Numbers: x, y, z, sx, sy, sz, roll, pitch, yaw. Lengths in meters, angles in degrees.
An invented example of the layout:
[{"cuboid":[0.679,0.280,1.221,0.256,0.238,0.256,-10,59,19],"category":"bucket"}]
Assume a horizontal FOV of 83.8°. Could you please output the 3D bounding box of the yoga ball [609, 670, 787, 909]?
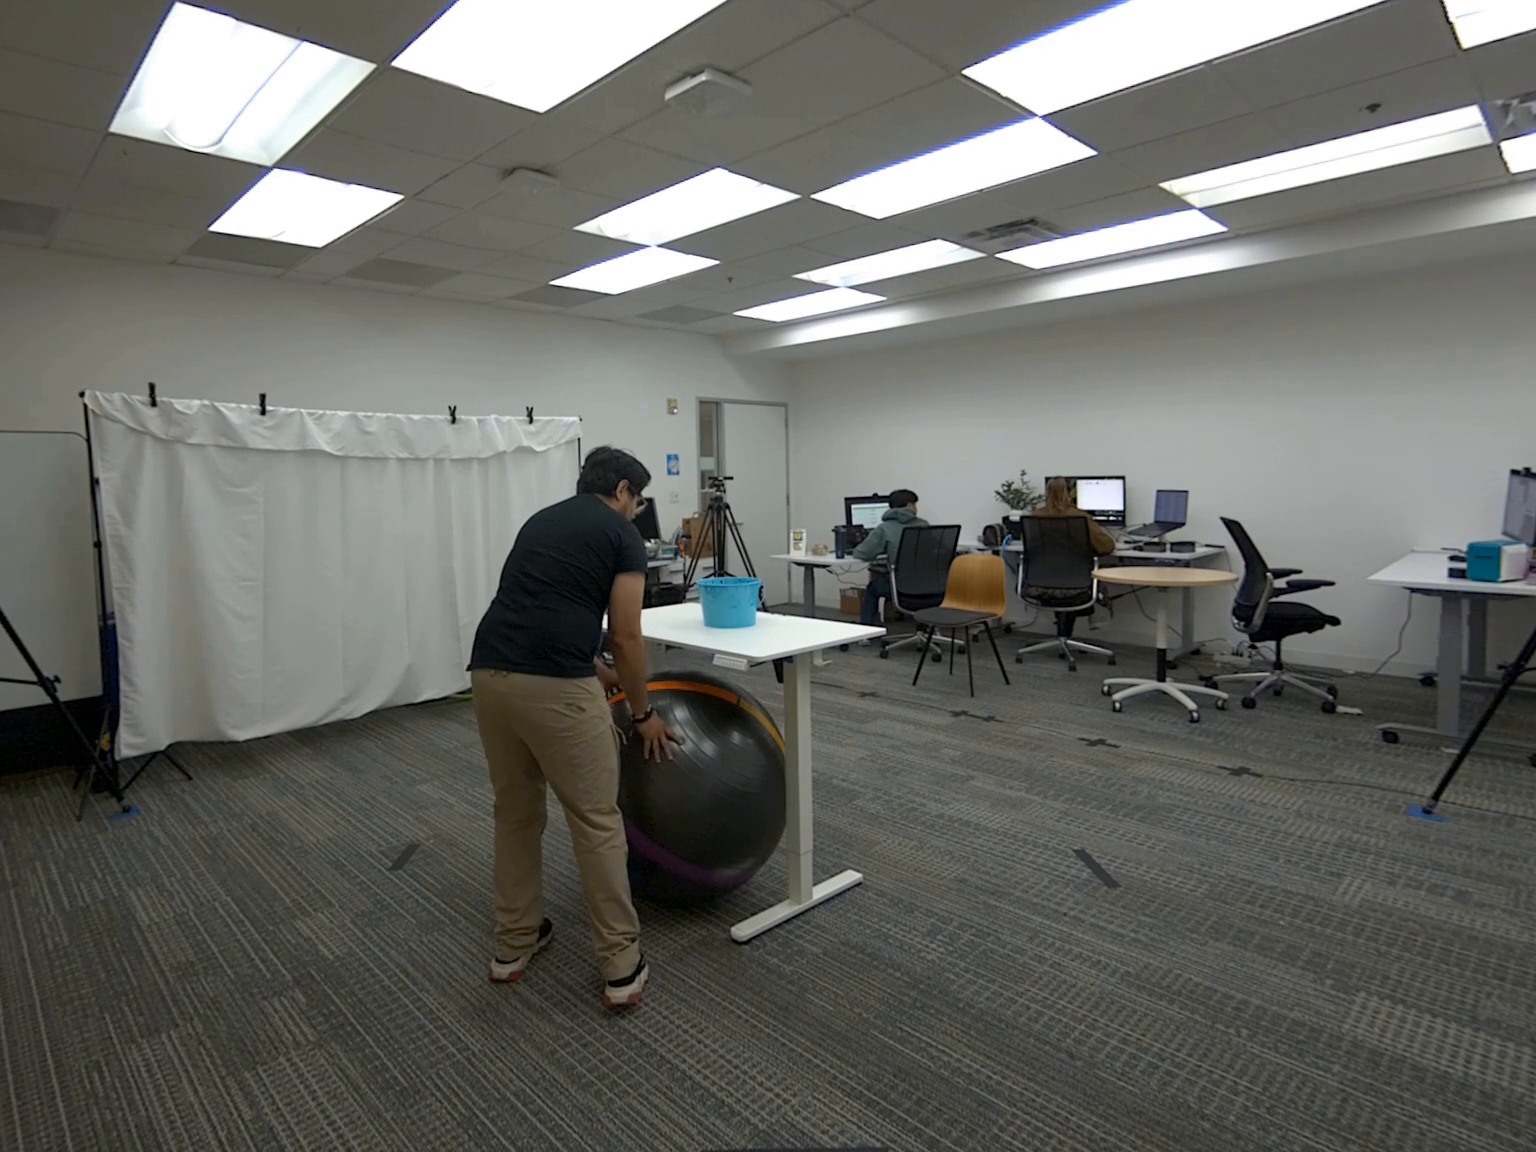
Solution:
[{"cuboid":[-0.312,0.715,2.876,0.757,0.755,0.762,-1,5,-2],"category":"yoga ball"}]
